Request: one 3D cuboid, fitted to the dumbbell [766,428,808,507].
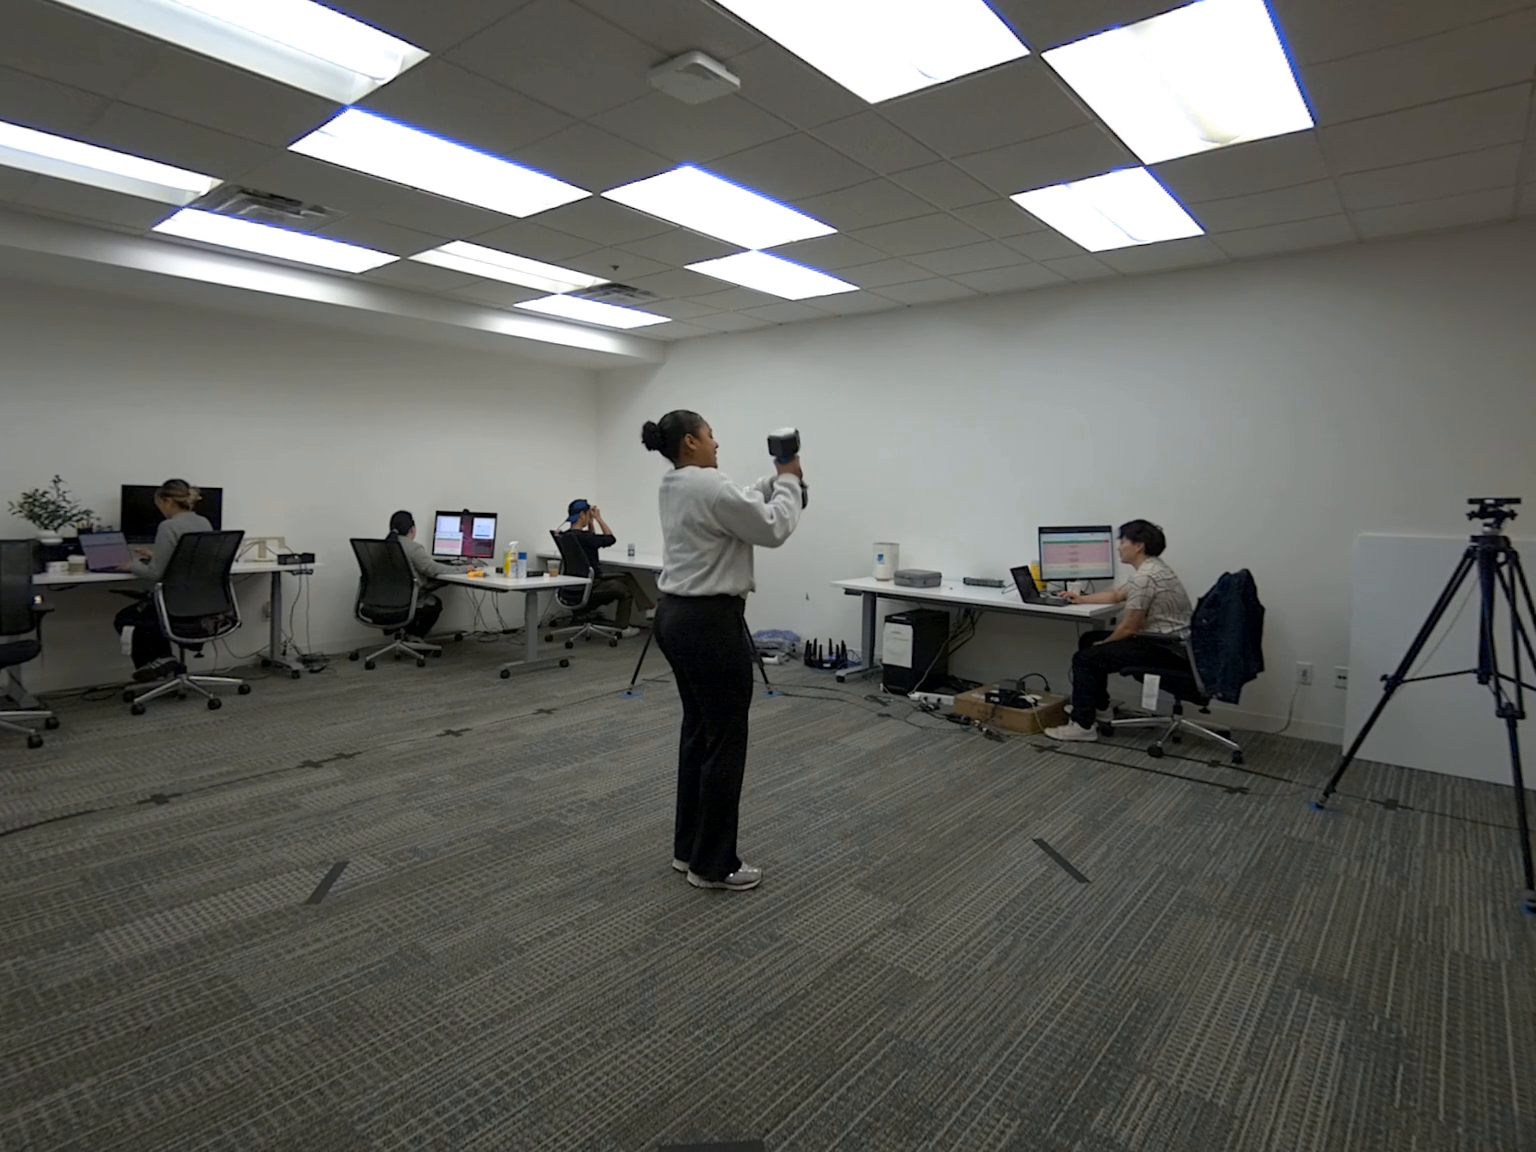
[{"bbox_3d":[0.053,-0.384,3.082,0.110,0.287,0.123,-2,21,16],"label":"dumbbell"}]
